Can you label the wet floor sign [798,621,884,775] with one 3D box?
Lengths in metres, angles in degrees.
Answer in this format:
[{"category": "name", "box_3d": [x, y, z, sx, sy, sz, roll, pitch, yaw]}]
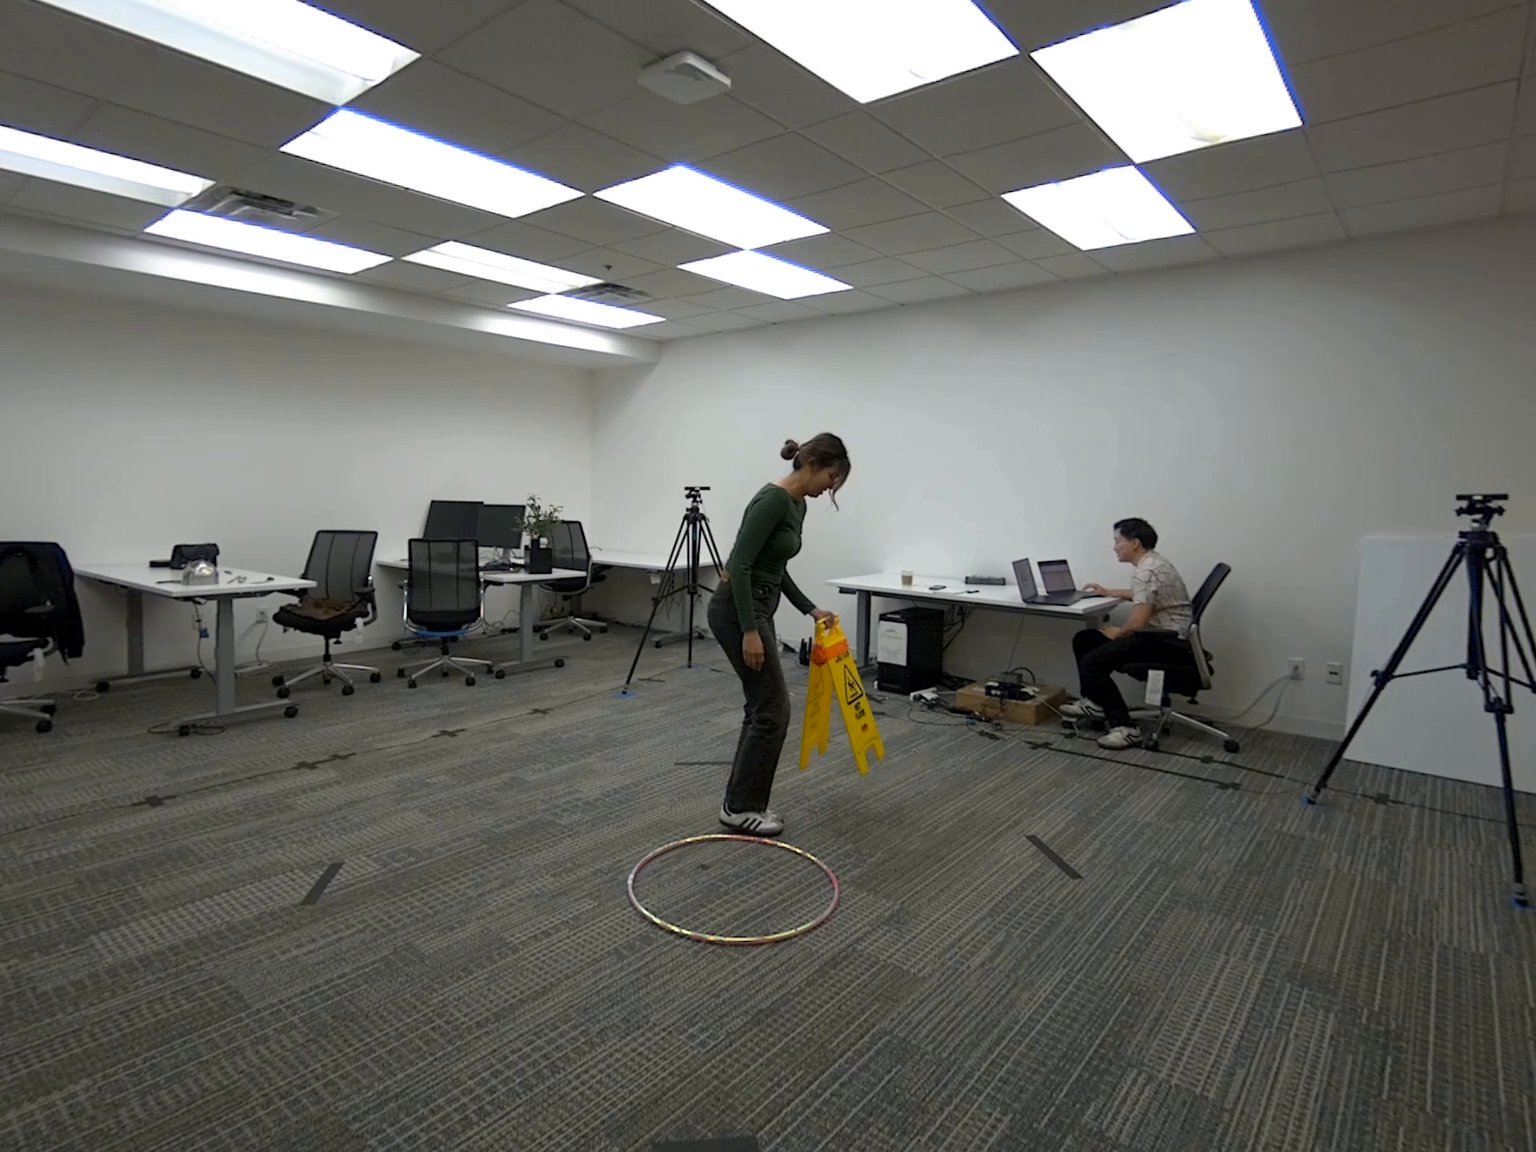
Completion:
[{"category": "wet floor sign", "box_3d": [0.285, 0.503, 3.711, 0.297, 0.643, 0.276, -4, 5, 31]}]
